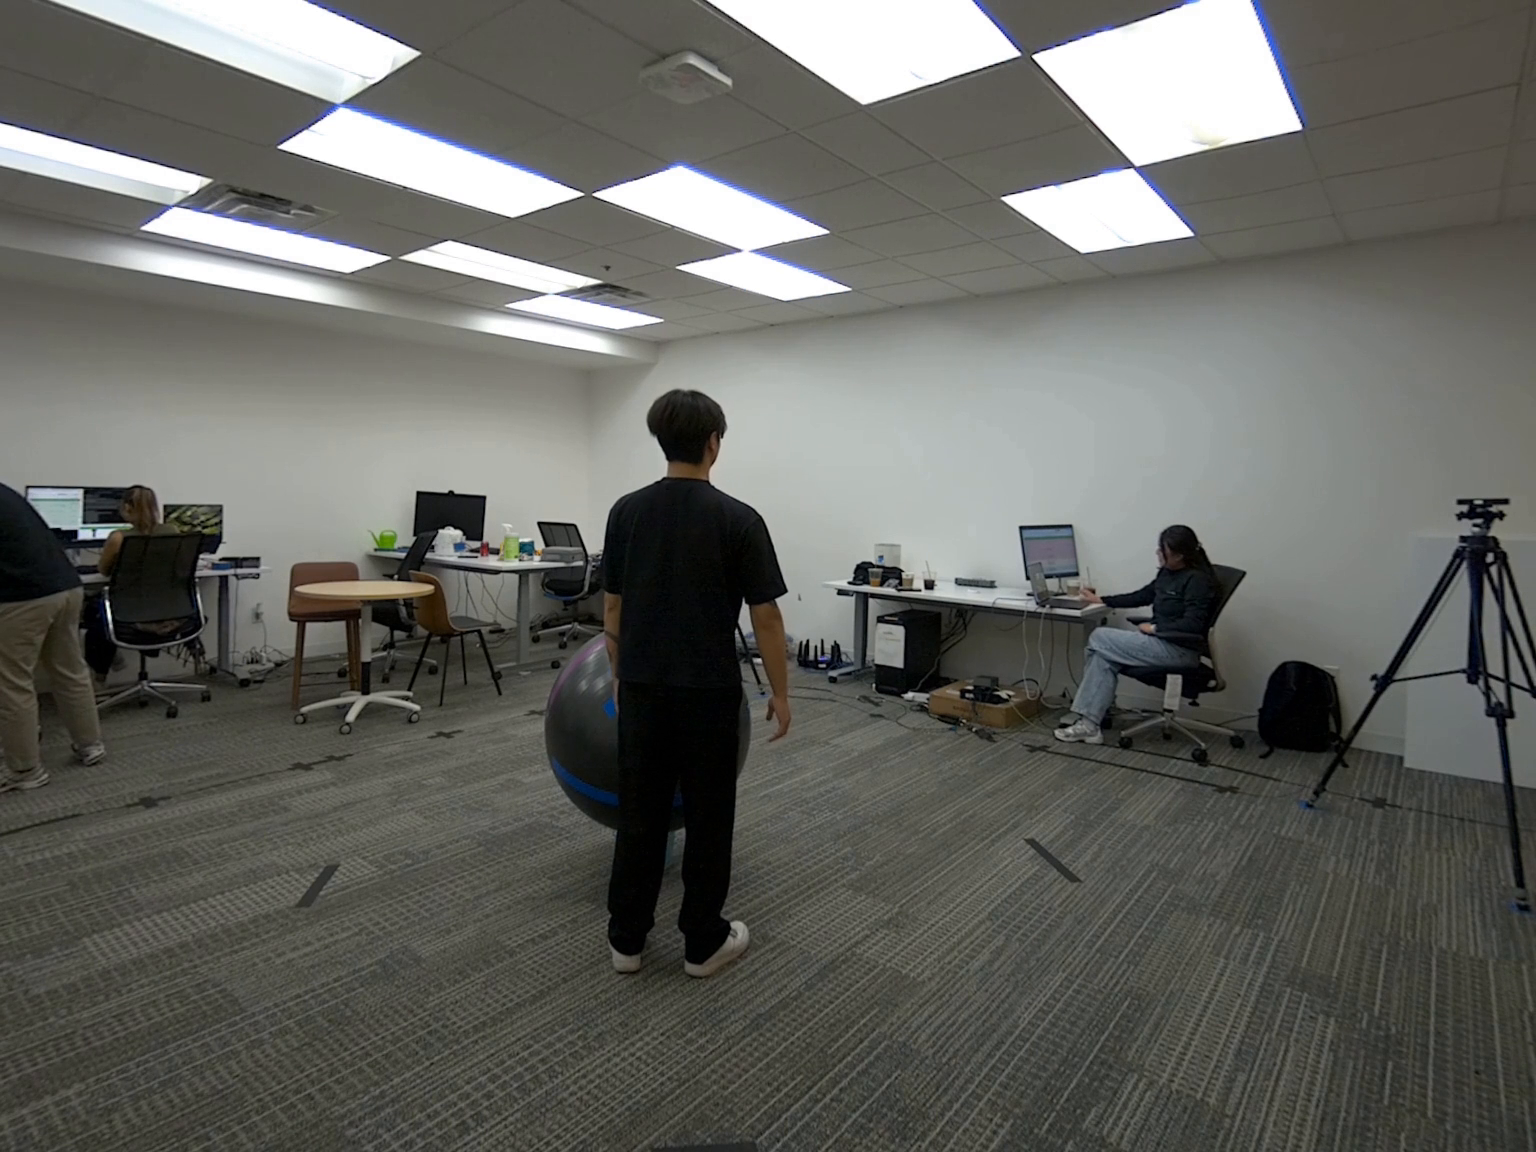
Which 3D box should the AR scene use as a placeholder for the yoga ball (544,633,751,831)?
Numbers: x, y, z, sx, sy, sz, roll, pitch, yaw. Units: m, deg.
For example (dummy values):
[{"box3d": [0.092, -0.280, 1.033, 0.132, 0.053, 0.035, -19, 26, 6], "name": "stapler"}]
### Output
[{"box3d": [-0.454, 0.550, 3.138, 0.757, 0.755, 0.762, 1, 4, -2], "name": "yoga ball"}]
